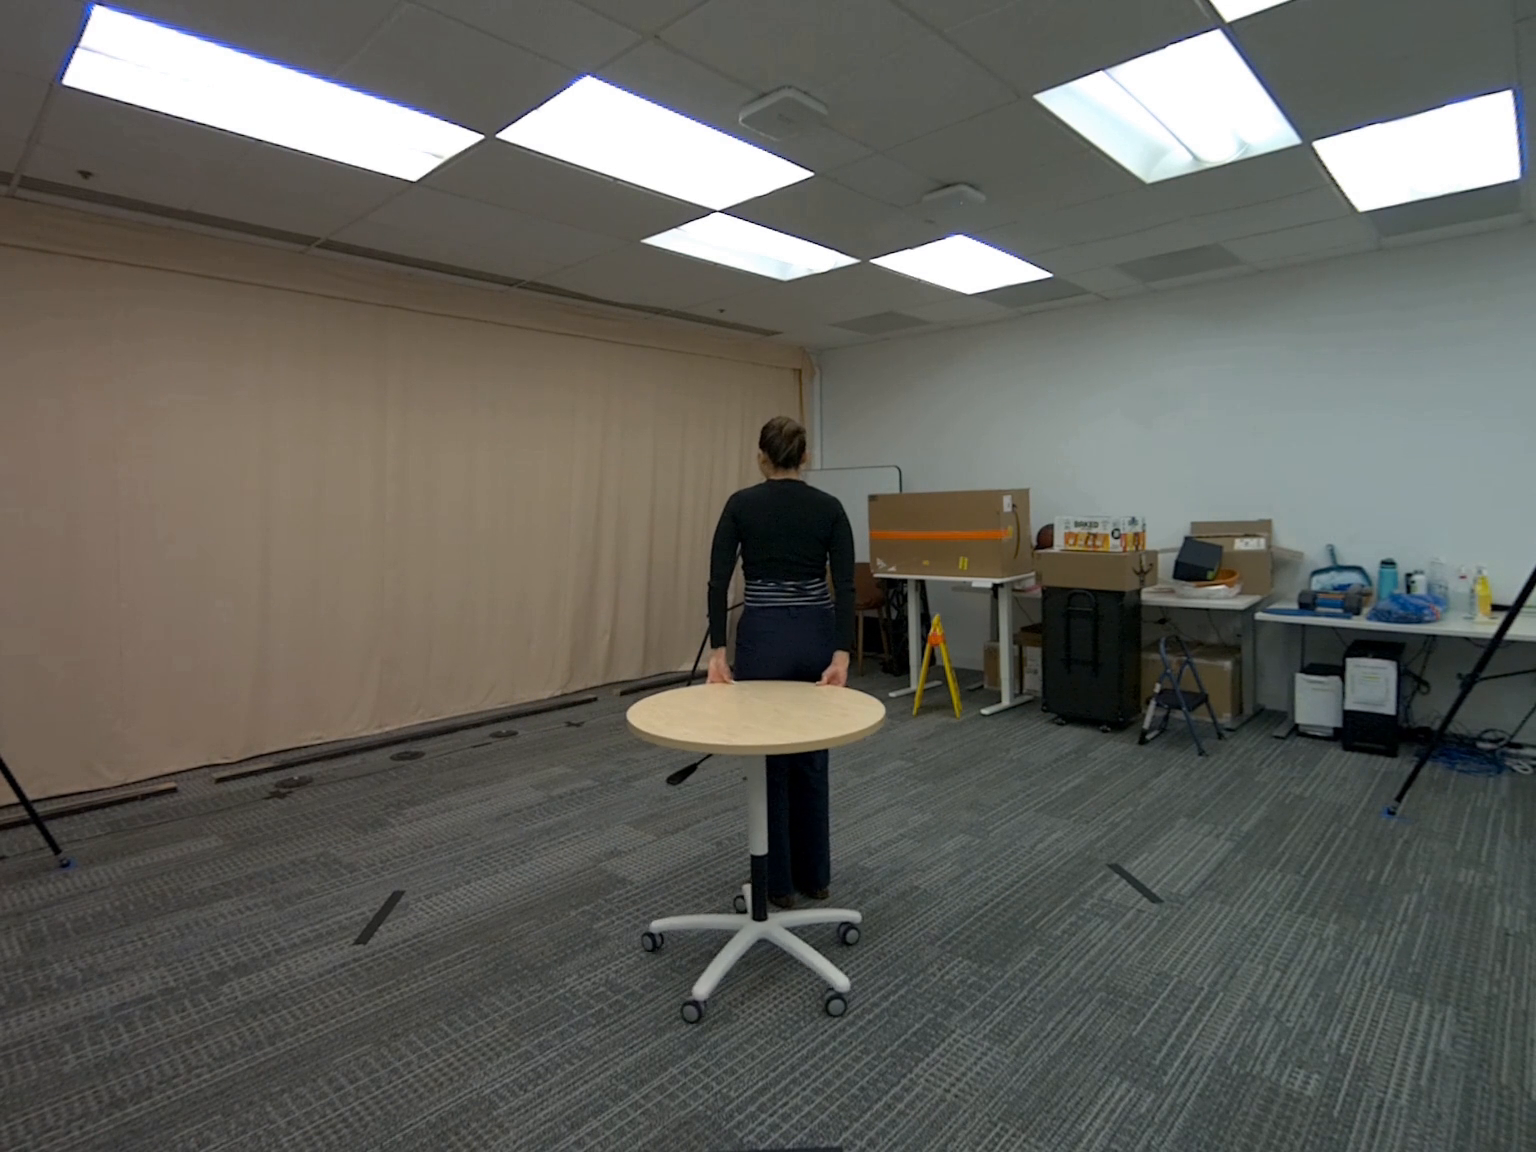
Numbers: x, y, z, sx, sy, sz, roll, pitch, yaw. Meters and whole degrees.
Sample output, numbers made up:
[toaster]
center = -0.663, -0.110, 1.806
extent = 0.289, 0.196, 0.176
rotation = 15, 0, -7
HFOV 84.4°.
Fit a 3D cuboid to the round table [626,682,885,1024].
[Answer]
[round table]
center = -0.027, 0.788, 2.535
extent = 0.763, 0.792, 0.767
rotation = -1, 4, -2
